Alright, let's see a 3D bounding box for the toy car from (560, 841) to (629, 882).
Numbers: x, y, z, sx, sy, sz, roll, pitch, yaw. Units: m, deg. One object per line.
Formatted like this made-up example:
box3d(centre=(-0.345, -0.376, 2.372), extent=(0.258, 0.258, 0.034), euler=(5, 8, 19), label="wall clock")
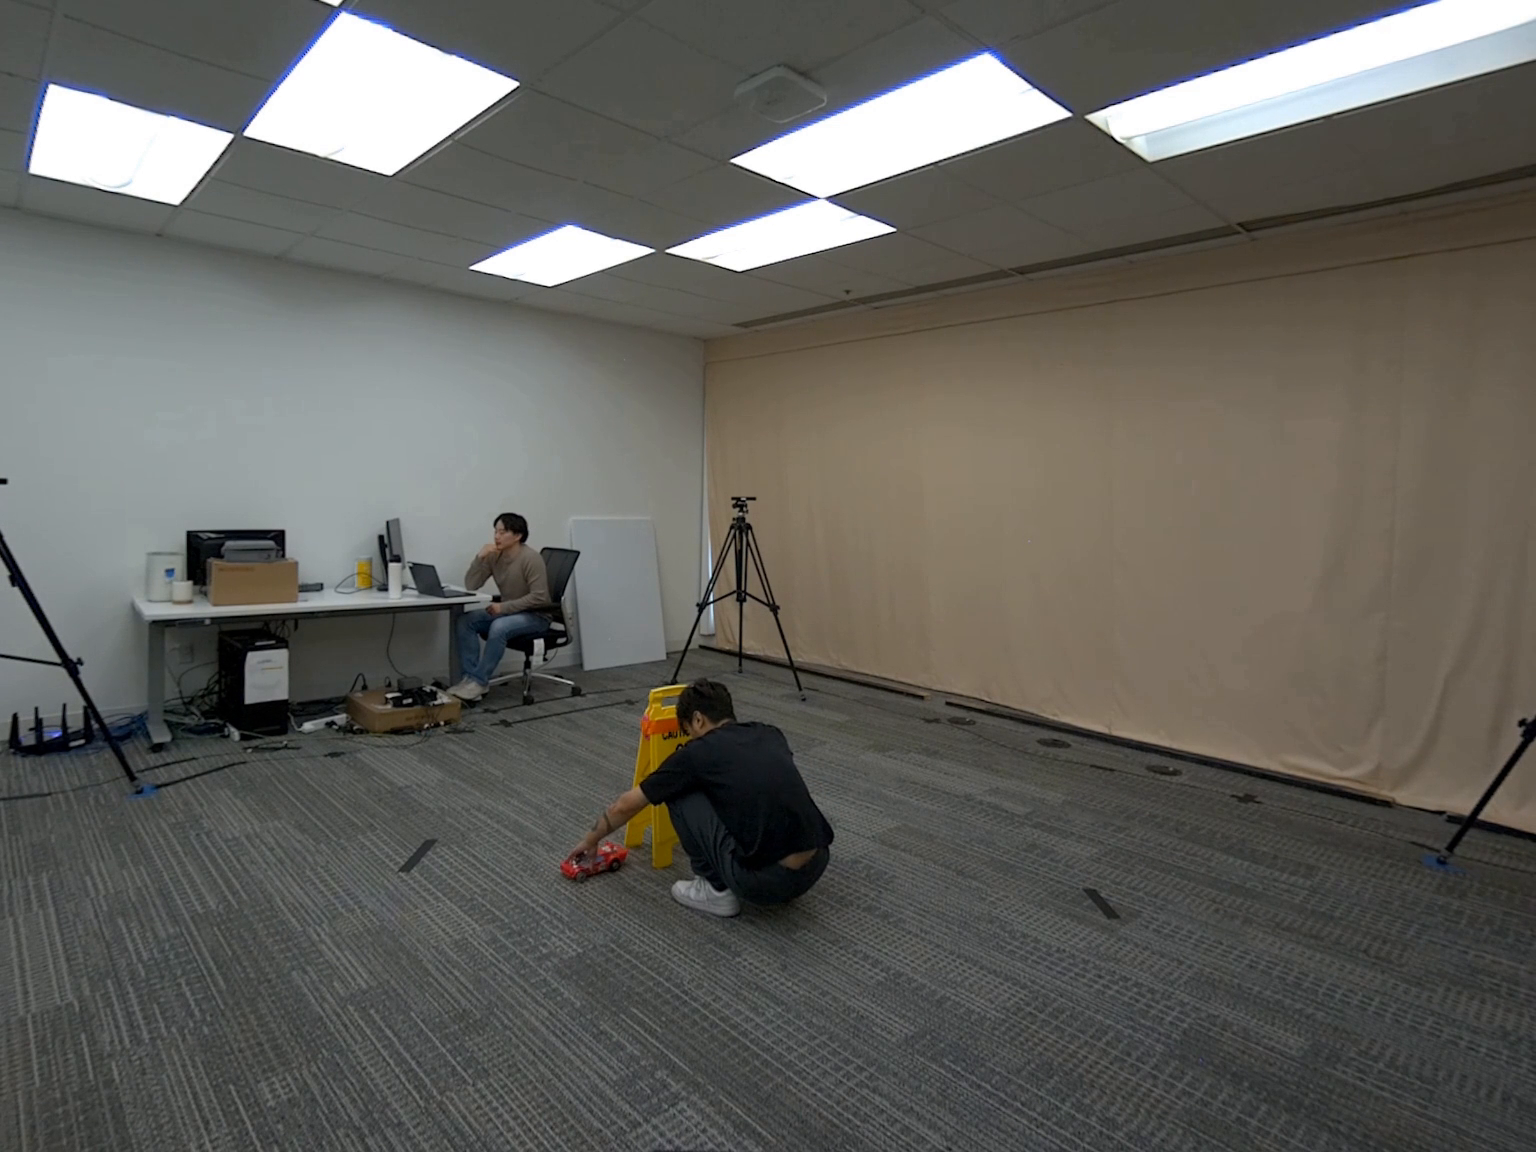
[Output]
box3d(centre=(-0.641, 1.057, 3.129), extent=(0.251, 0.082, 0.133), euler=(-19, 16, -38), label="toy car")
